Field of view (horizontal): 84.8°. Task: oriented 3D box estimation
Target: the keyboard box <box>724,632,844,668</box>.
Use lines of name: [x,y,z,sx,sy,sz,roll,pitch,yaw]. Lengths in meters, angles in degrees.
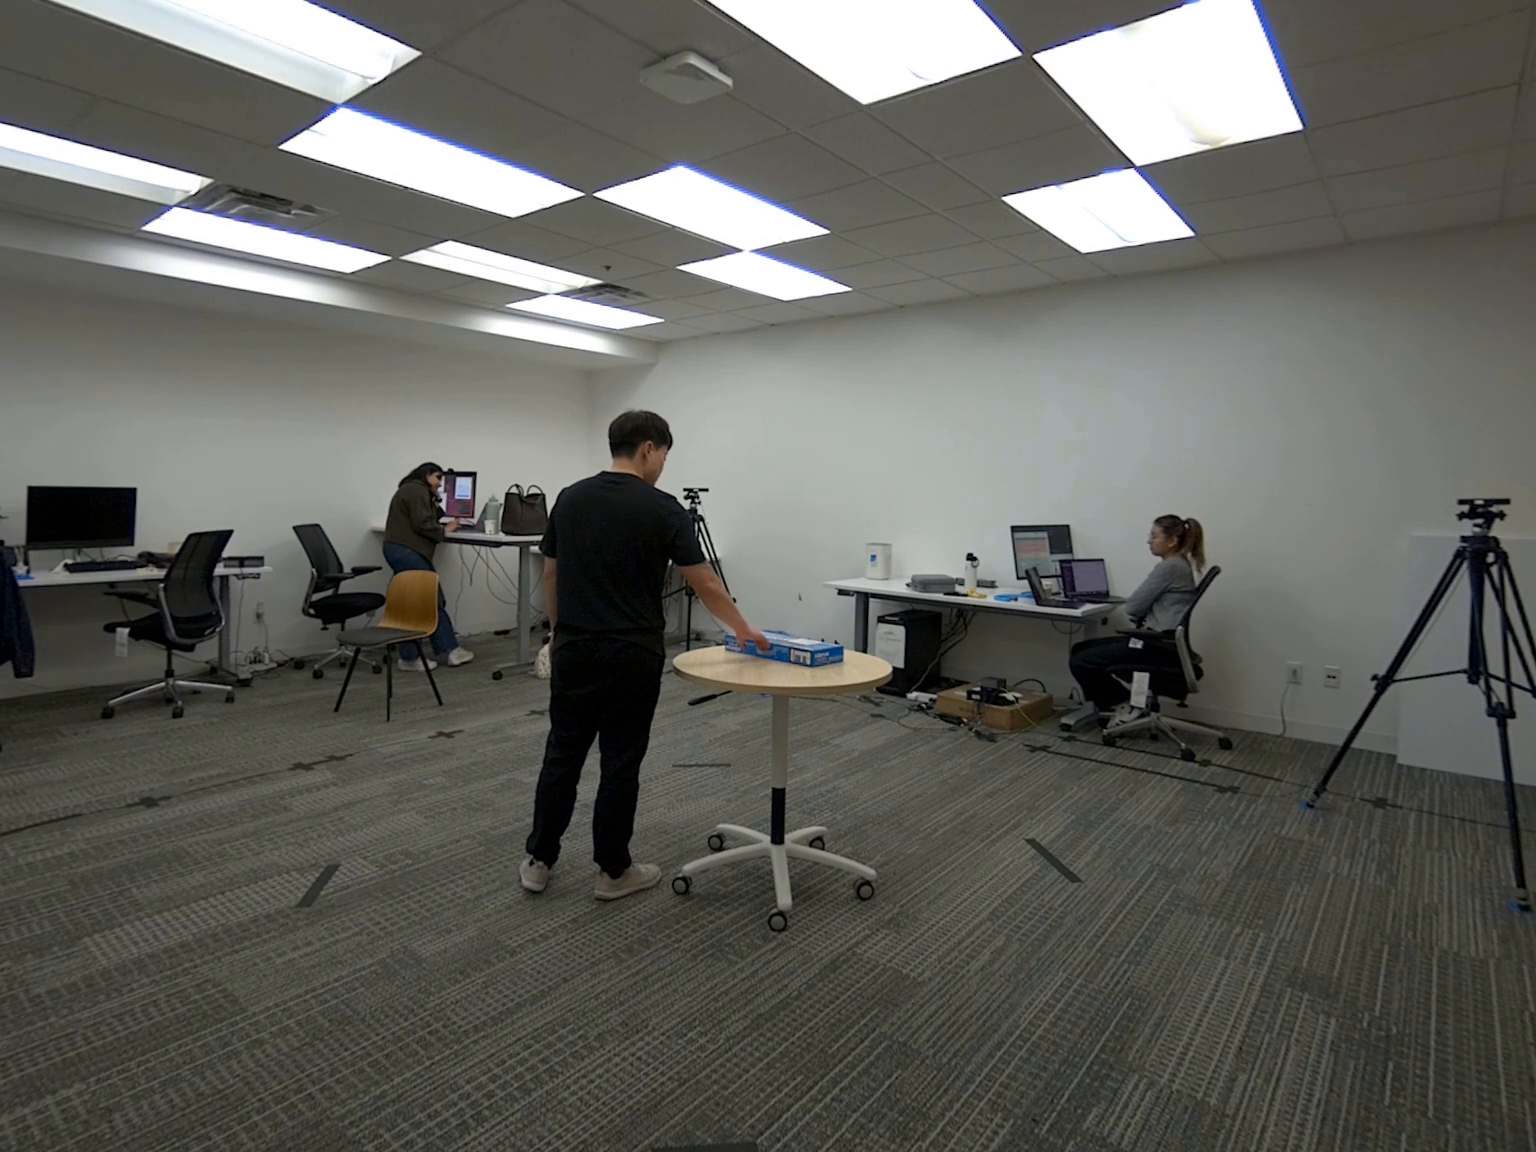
keyboard box: [0.050,0.262,3.128,0.452,0.059,0.171,7,8,44]
